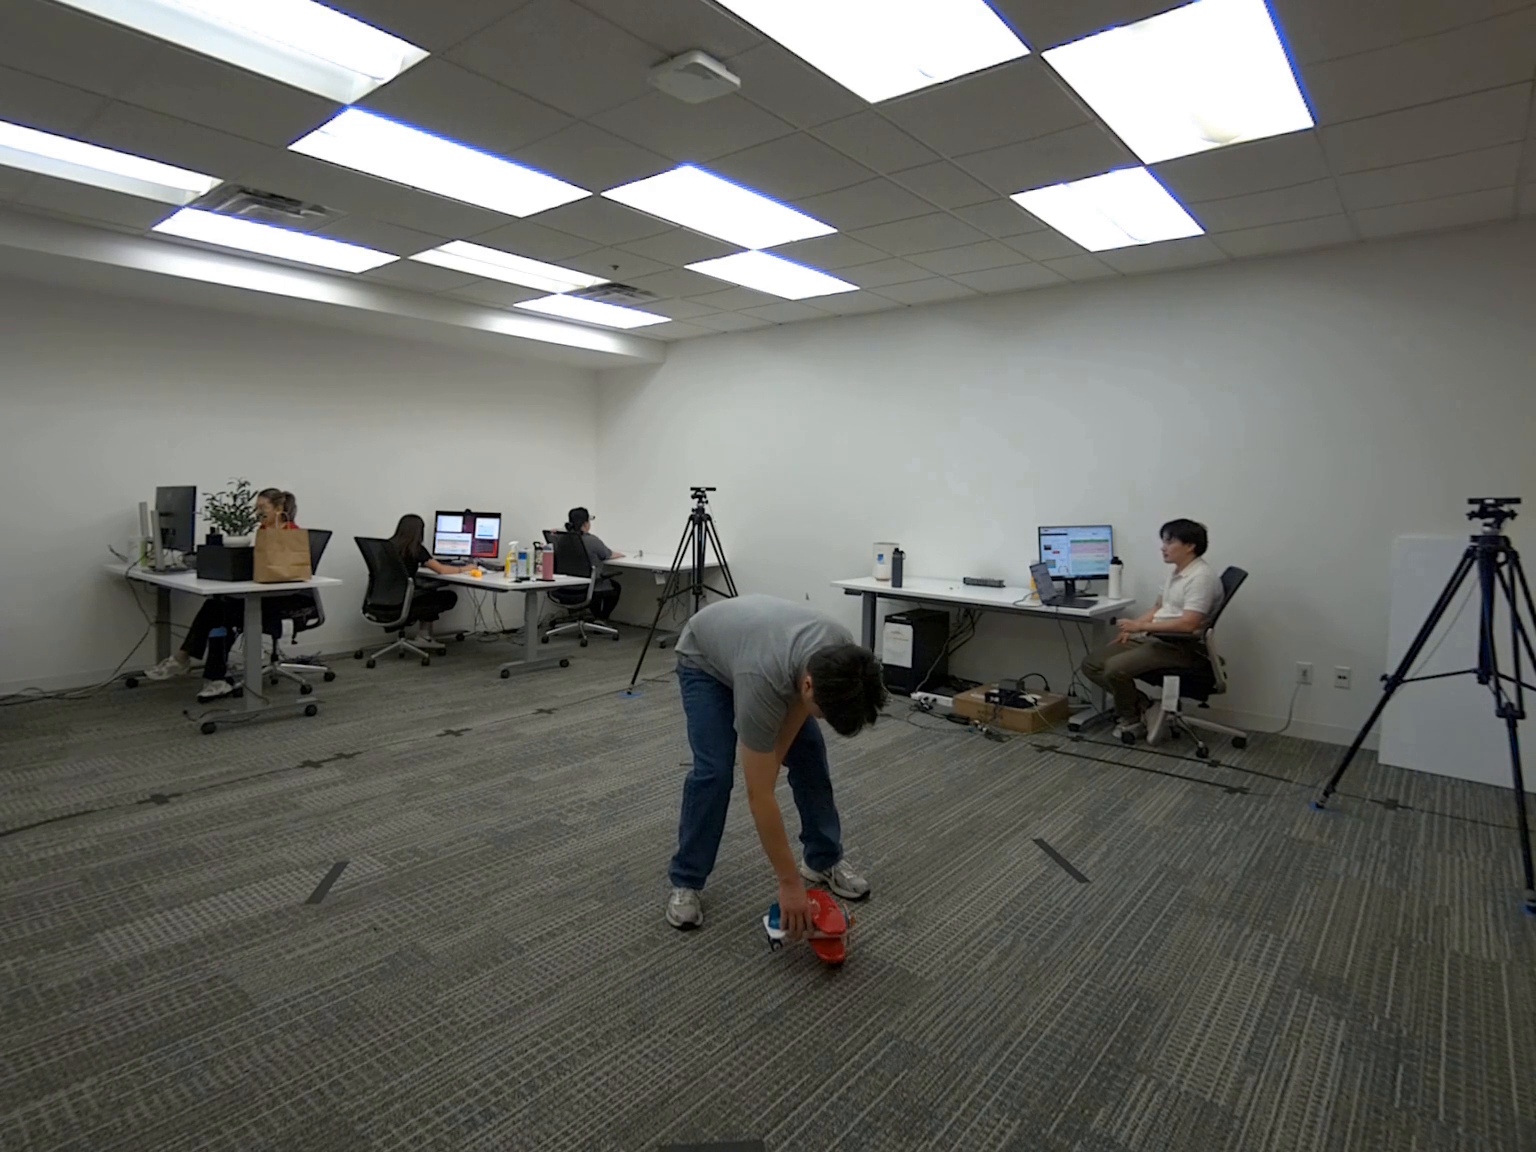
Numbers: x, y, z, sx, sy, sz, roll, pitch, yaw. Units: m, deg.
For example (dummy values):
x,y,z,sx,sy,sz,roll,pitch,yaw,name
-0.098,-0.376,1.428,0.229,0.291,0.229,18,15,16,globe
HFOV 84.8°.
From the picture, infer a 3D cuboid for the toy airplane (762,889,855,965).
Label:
x,y,z,sx,sy,sz,roll,pitch,yaw,name
0.115,1.045,2.486,0.249,0.156,0.261,16,1,-39,toy airplane
